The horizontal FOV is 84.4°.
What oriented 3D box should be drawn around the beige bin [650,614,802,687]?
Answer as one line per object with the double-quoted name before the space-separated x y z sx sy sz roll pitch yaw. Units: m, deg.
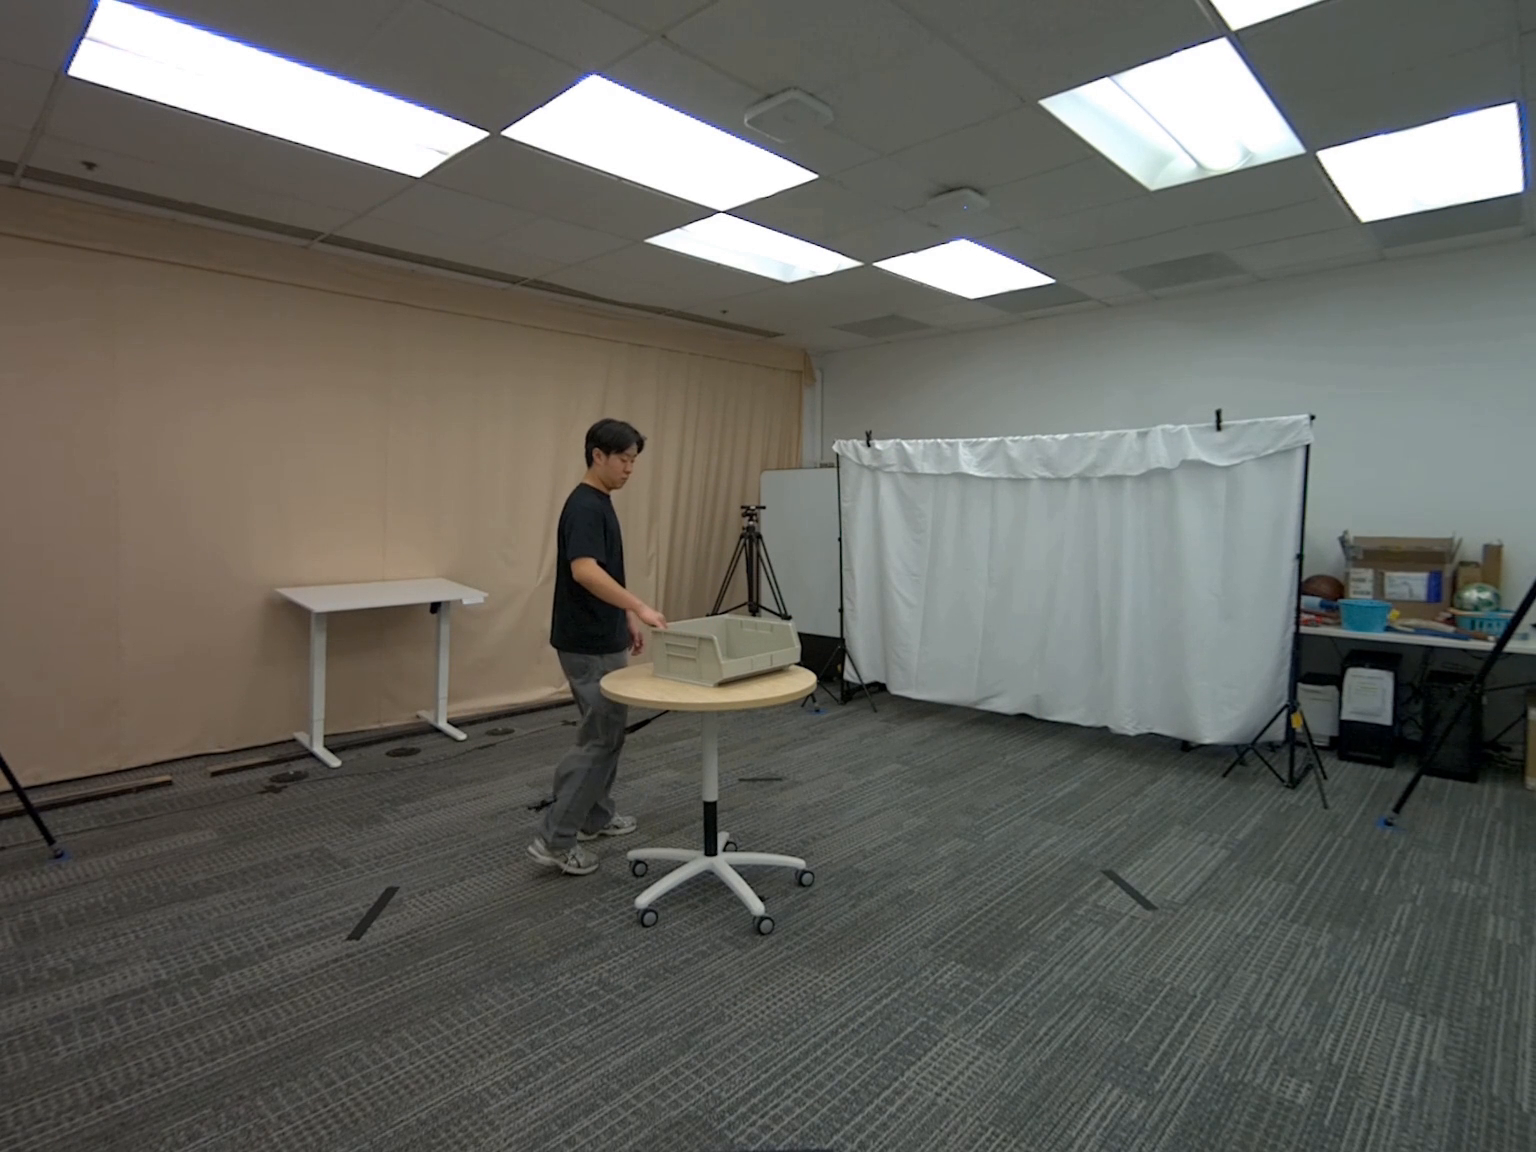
"beige bin" -0.154 0.267 3.061 0.390 0.188 0.410 1 6 43
